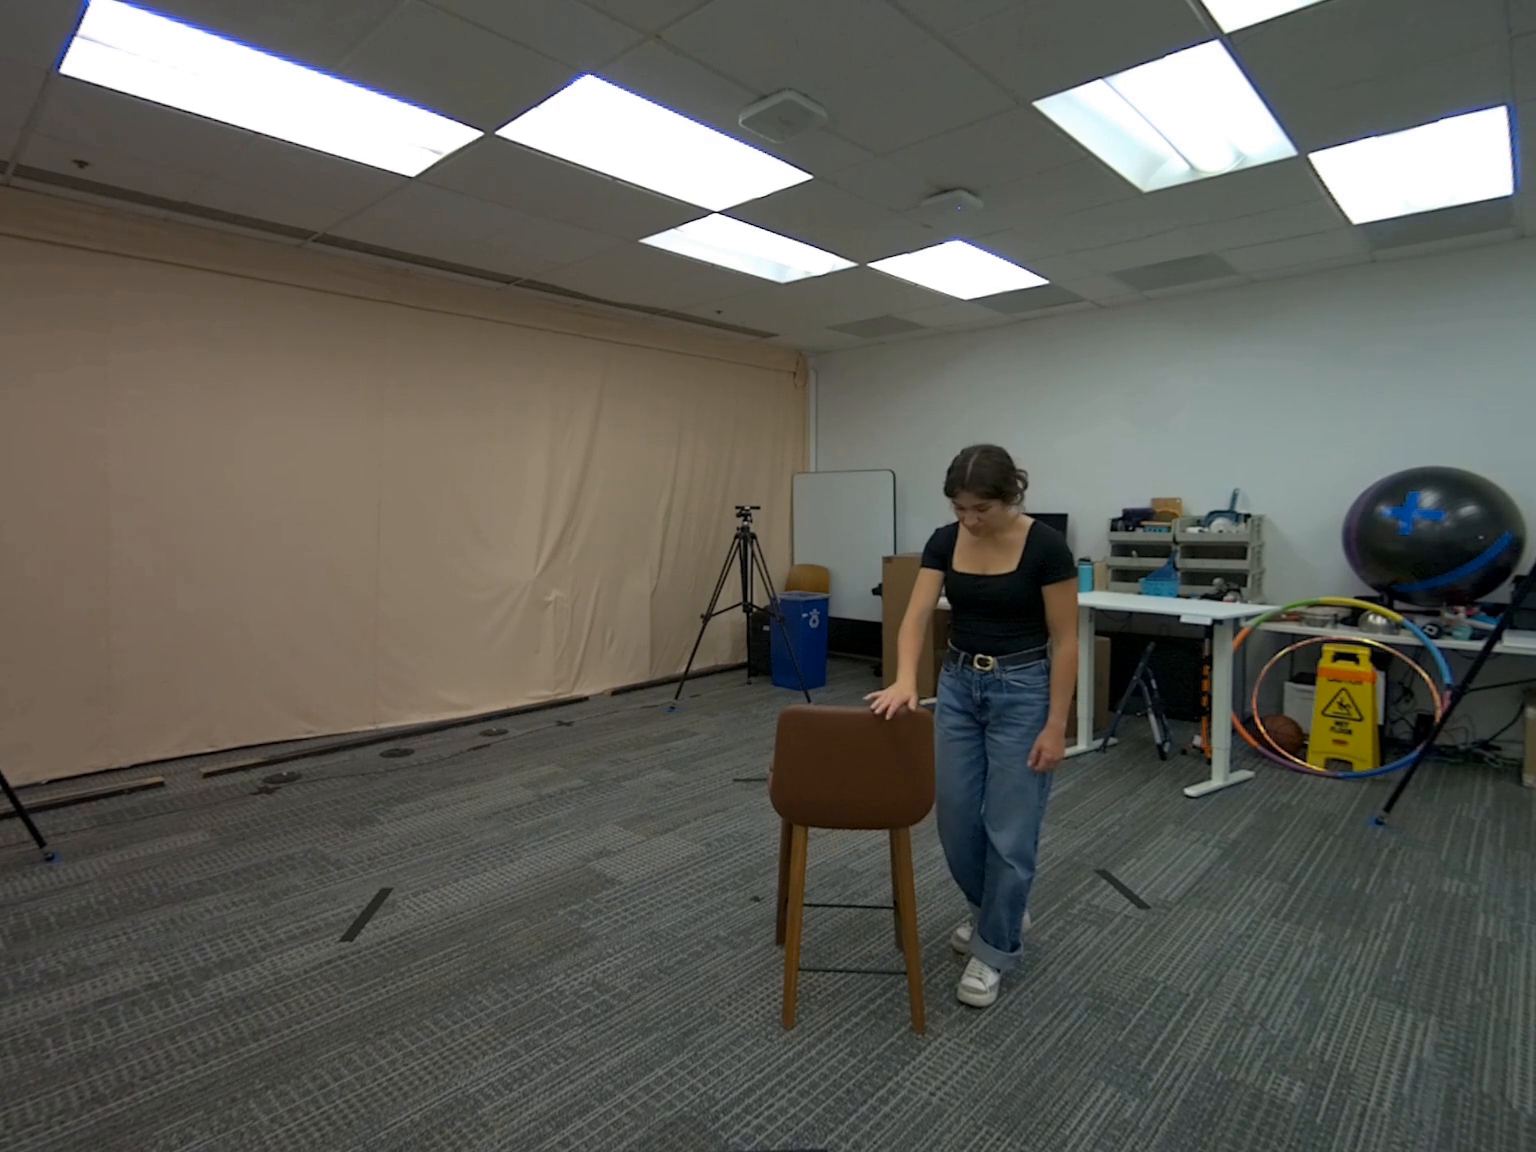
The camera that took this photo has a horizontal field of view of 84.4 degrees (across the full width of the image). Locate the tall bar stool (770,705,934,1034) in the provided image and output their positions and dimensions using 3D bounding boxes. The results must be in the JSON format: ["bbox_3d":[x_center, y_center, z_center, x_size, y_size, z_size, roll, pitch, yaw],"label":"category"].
[{"bbox_3d":[0.233,0.756,2.424,0.458,0.887,0.468,1,5,2],"label":"tall bar stool"}]
